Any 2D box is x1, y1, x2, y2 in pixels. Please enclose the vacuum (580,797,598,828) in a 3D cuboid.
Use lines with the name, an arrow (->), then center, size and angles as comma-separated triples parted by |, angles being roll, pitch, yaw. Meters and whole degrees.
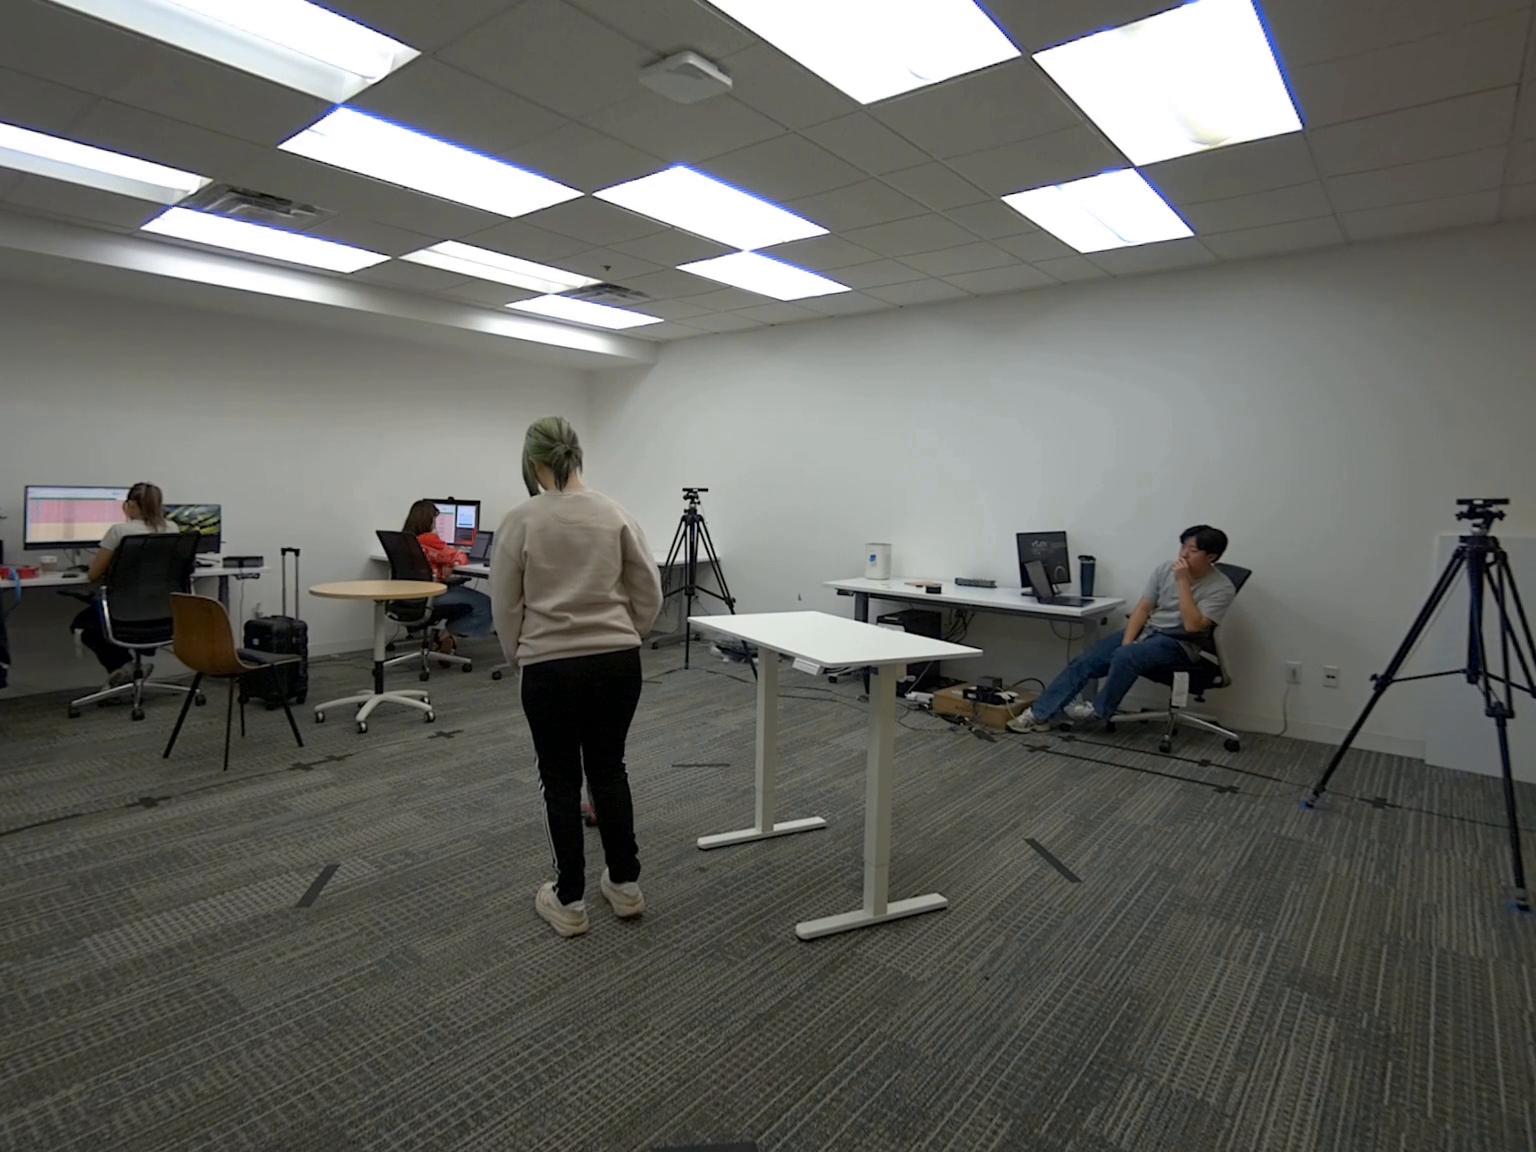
vacuum -> -0.651, 0.659, 3.194 | 0.250, 0.149, 1.024 | -1, -42, -9
